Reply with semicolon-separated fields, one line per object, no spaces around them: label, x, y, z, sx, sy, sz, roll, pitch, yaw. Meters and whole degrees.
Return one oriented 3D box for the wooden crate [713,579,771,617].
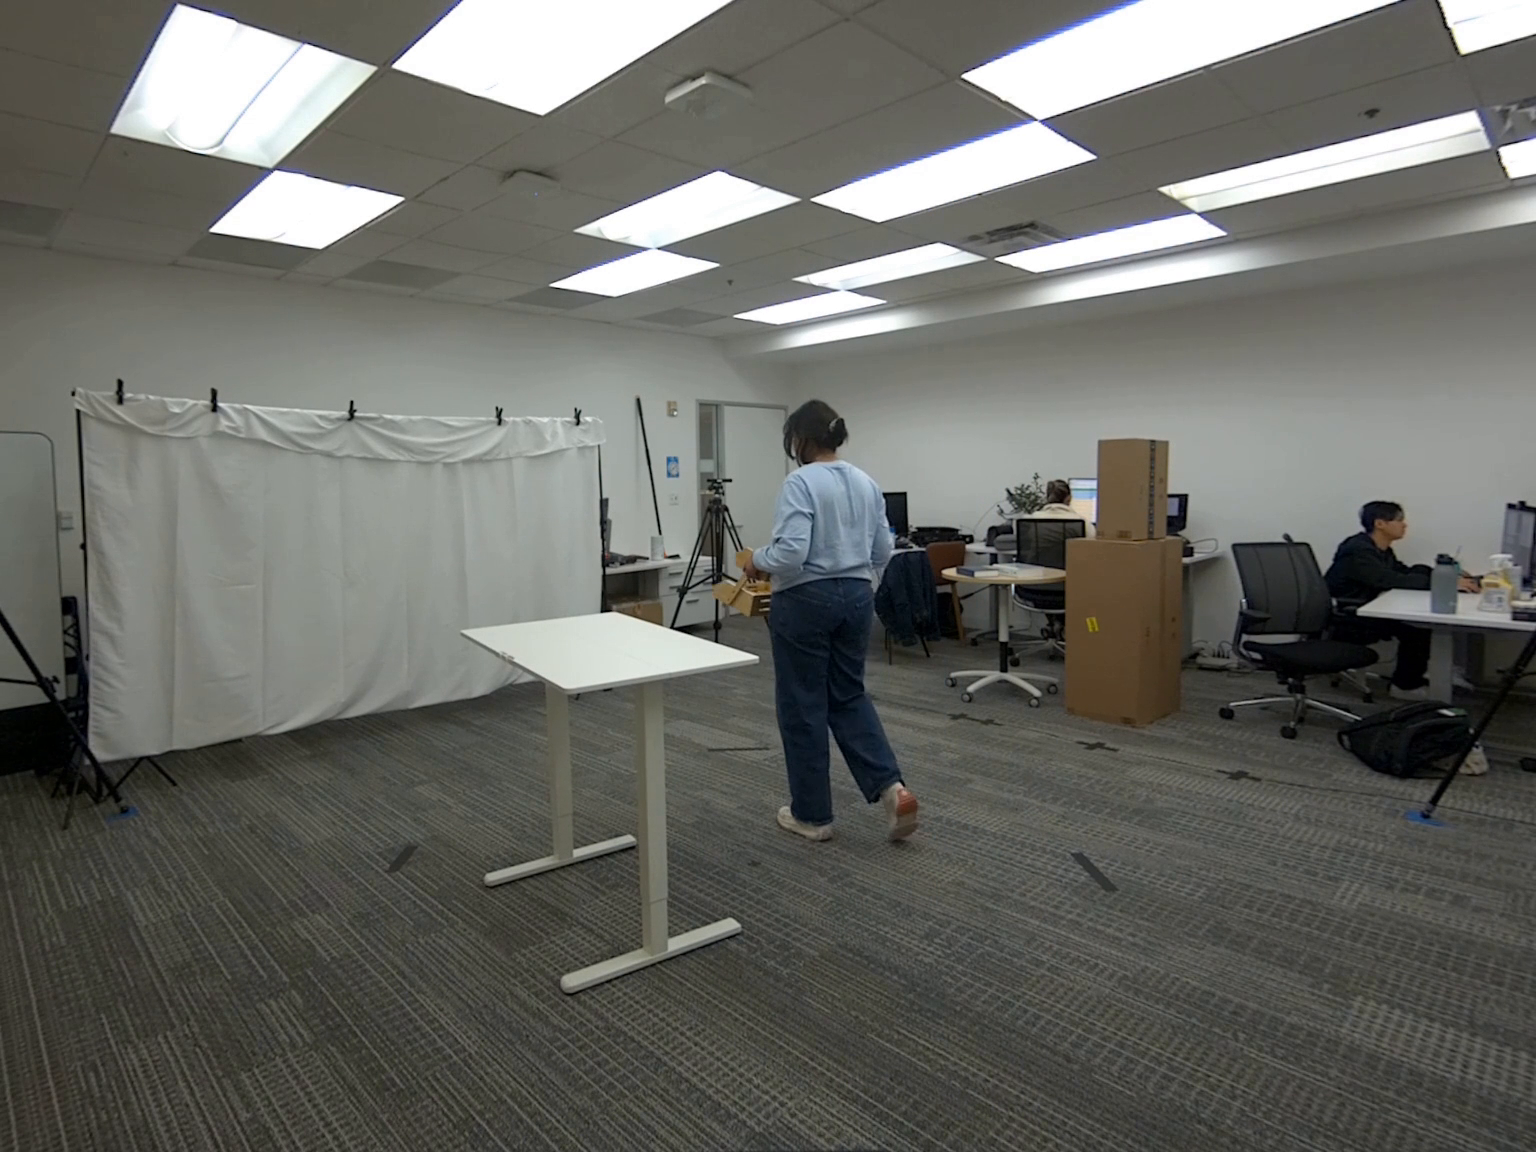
wooden crate;0.006;-0.004;3.554;0.315;0.270;0.313;-3;20;-41
